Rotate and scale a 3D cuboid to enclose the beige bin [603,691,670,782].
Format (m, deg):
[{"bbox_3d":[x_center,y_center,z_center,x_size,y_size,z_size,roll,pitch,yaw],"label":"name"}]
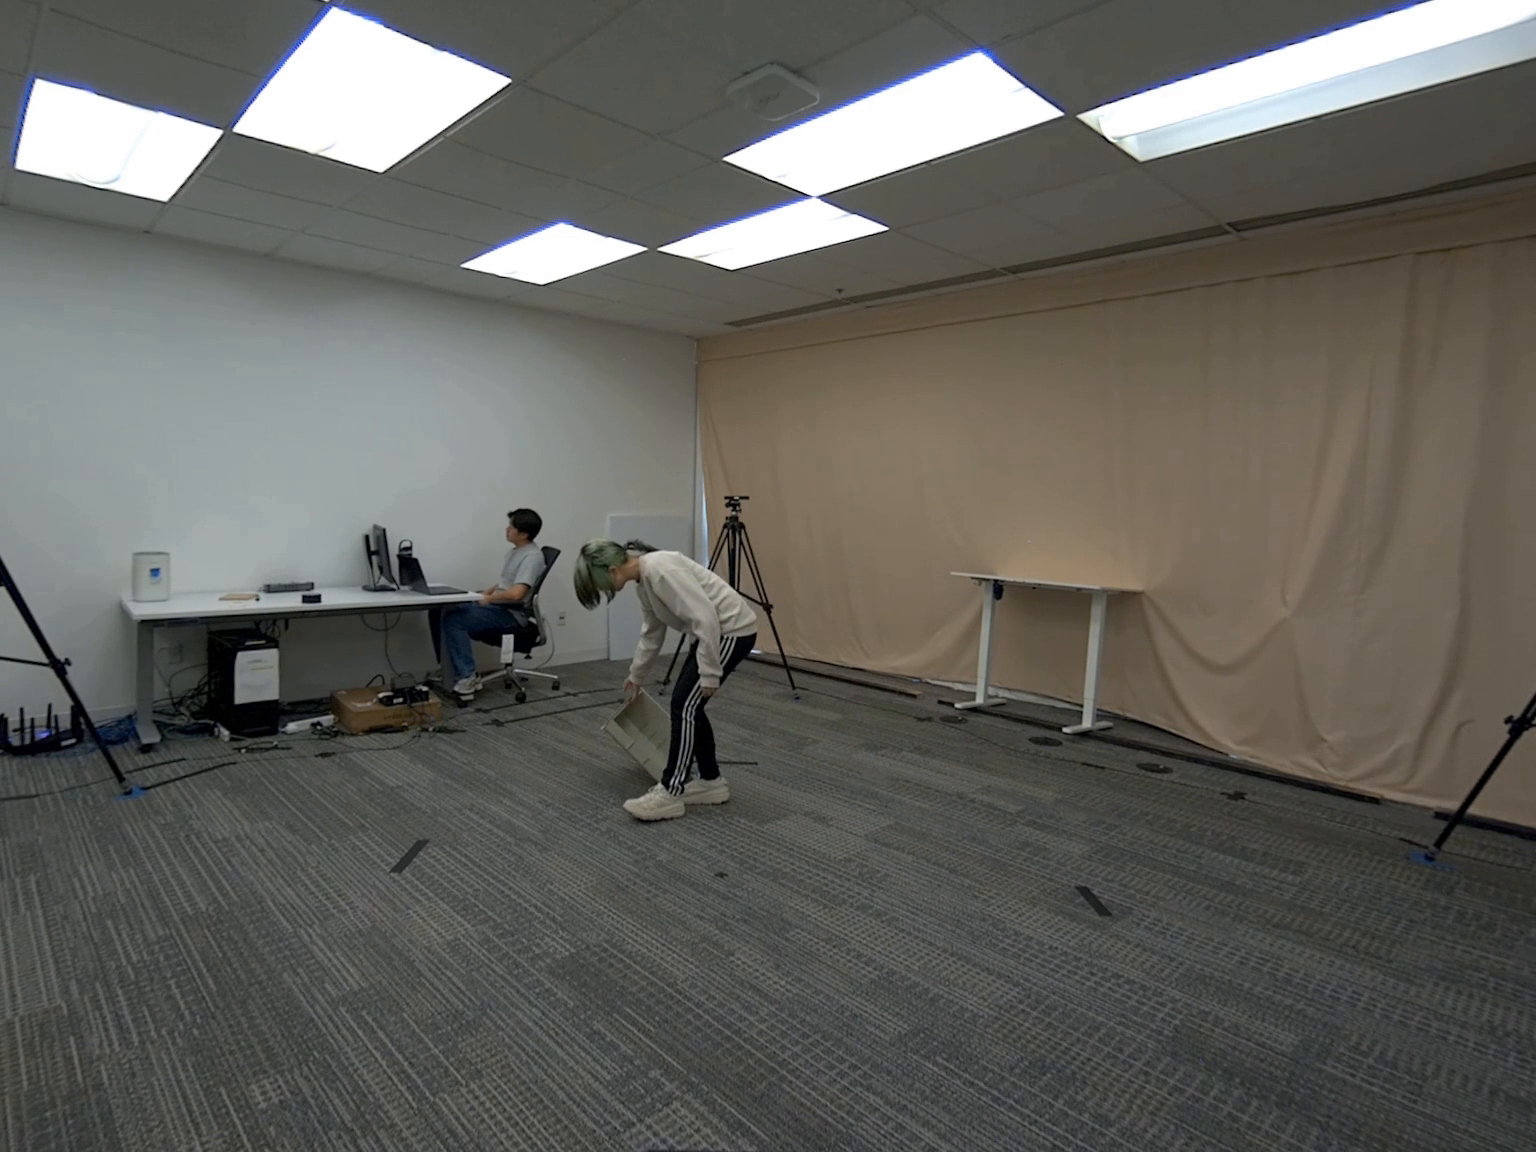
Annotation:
[{"bbox_3d":[-0.591,0.803,4.144,0.424,0.189,0.376,43,7,3],"label":"beige bin"}]
